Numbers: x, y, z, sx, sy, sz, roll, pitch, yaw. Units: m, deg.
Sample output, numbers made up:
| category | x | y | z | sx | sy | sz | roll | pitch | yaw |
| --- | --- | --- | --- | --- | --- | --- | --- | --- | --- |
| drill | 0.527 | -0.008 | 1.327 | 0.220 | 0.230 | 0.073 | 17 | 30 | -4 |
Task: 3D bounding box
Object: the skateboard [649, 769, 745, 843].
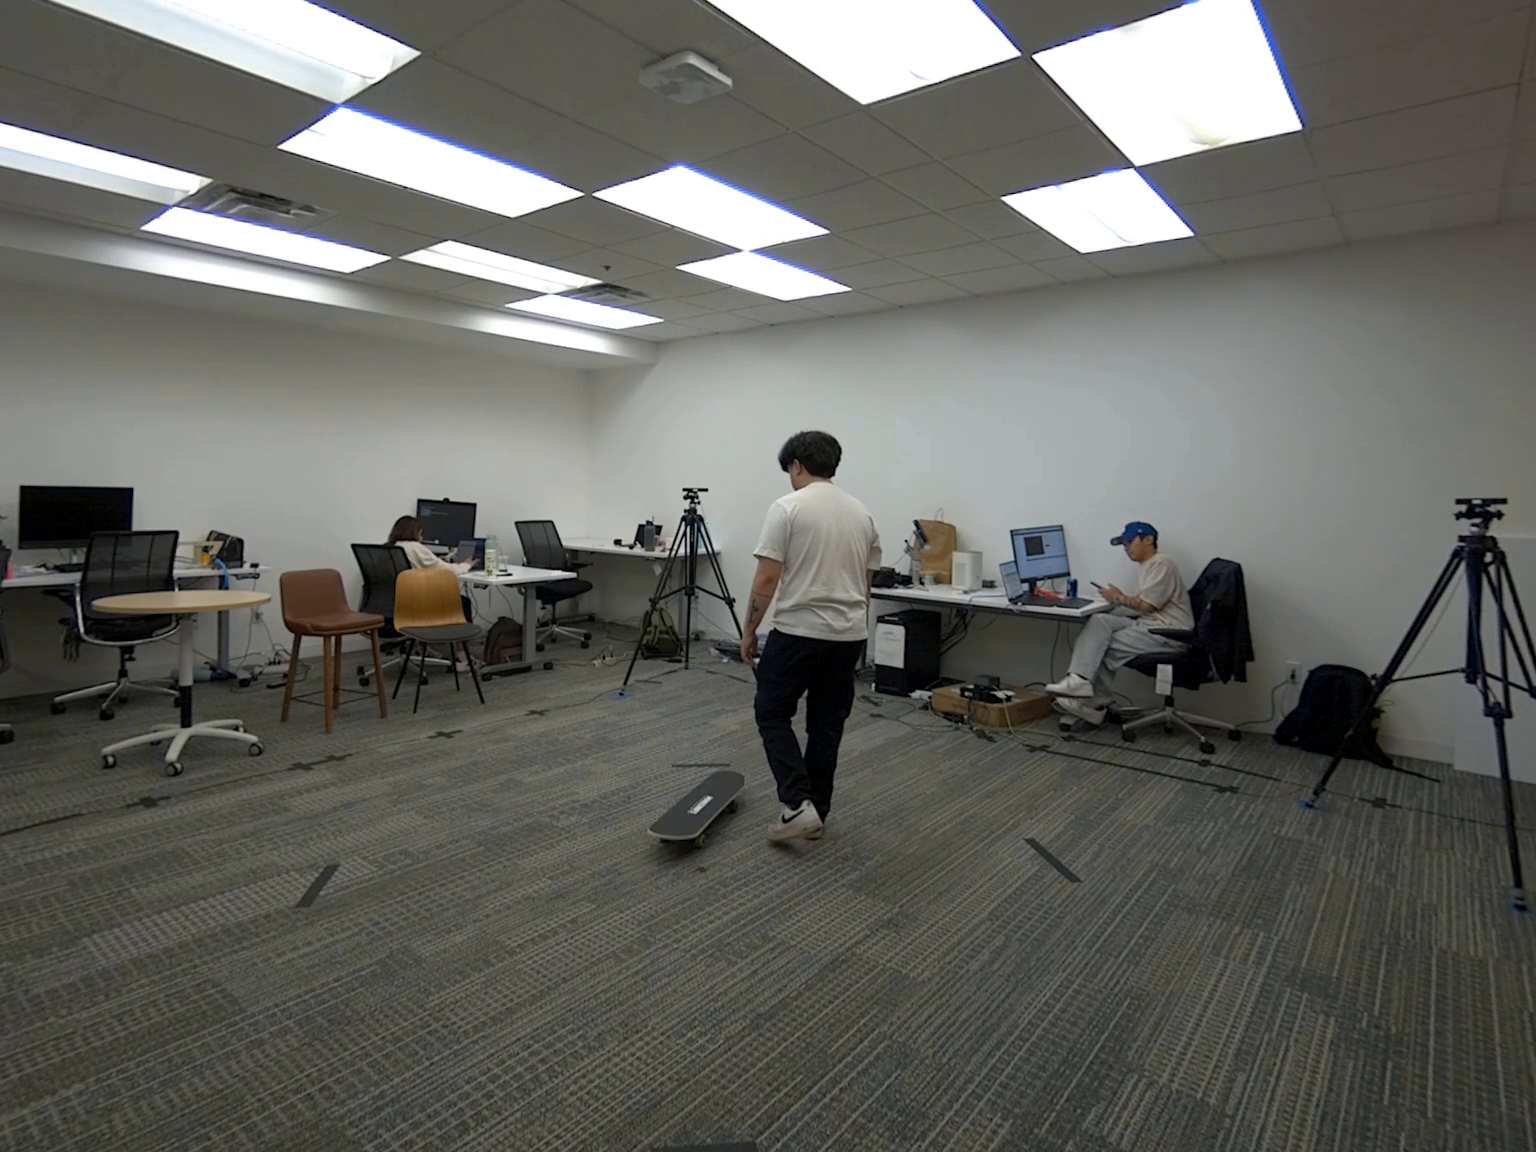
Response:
| category | x | y | z | sx | sy | sz | roll | pitch | yaw |
| --- | --- | --- | --- | --- | --- | --- | --- | --- | --- |
| skateboard | -0.285 | 0.969 | 3.508 | 0.197 | 0.110 | 0.773 | 1 | 6 | 17 |
